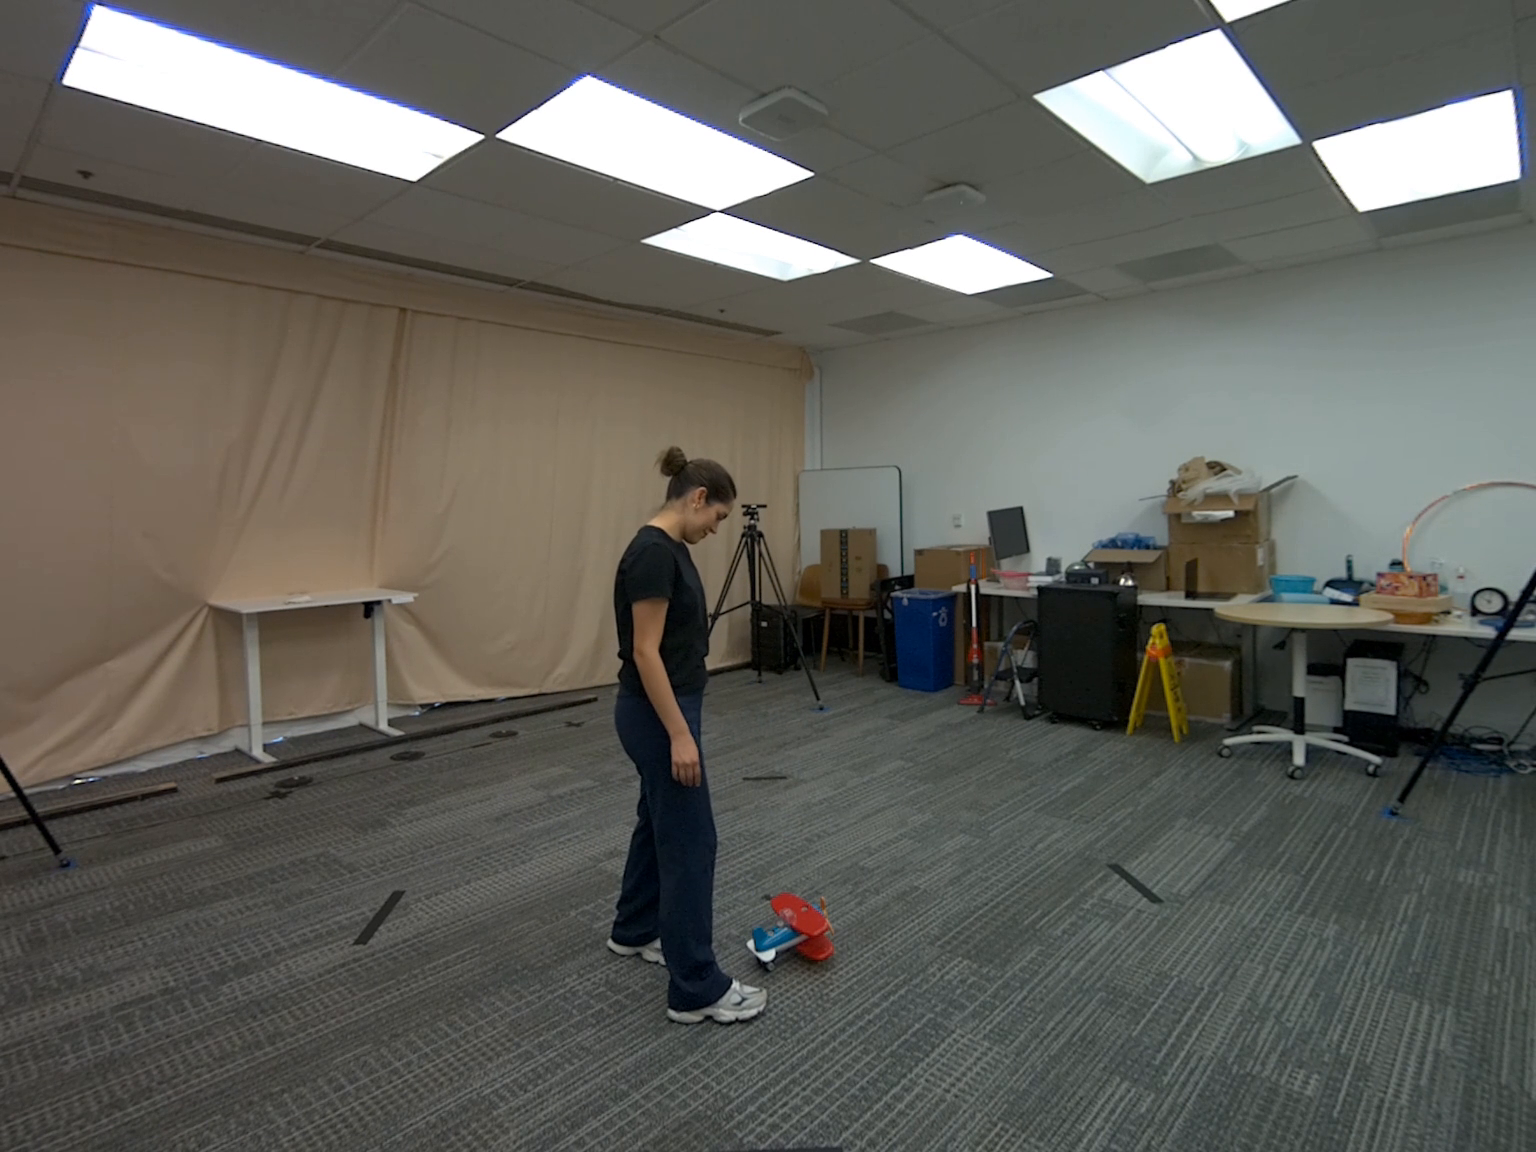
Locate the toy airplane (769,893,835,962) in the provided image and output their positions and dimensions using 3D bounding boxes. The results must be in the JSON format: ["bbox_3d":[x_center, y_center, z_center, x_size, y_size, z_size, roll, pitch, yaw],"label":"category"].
[{"bbox_3d":[0.101,1.104,2.554,0.259,0.156,0.252,3,5,35],"label":"toy airplane"}]
